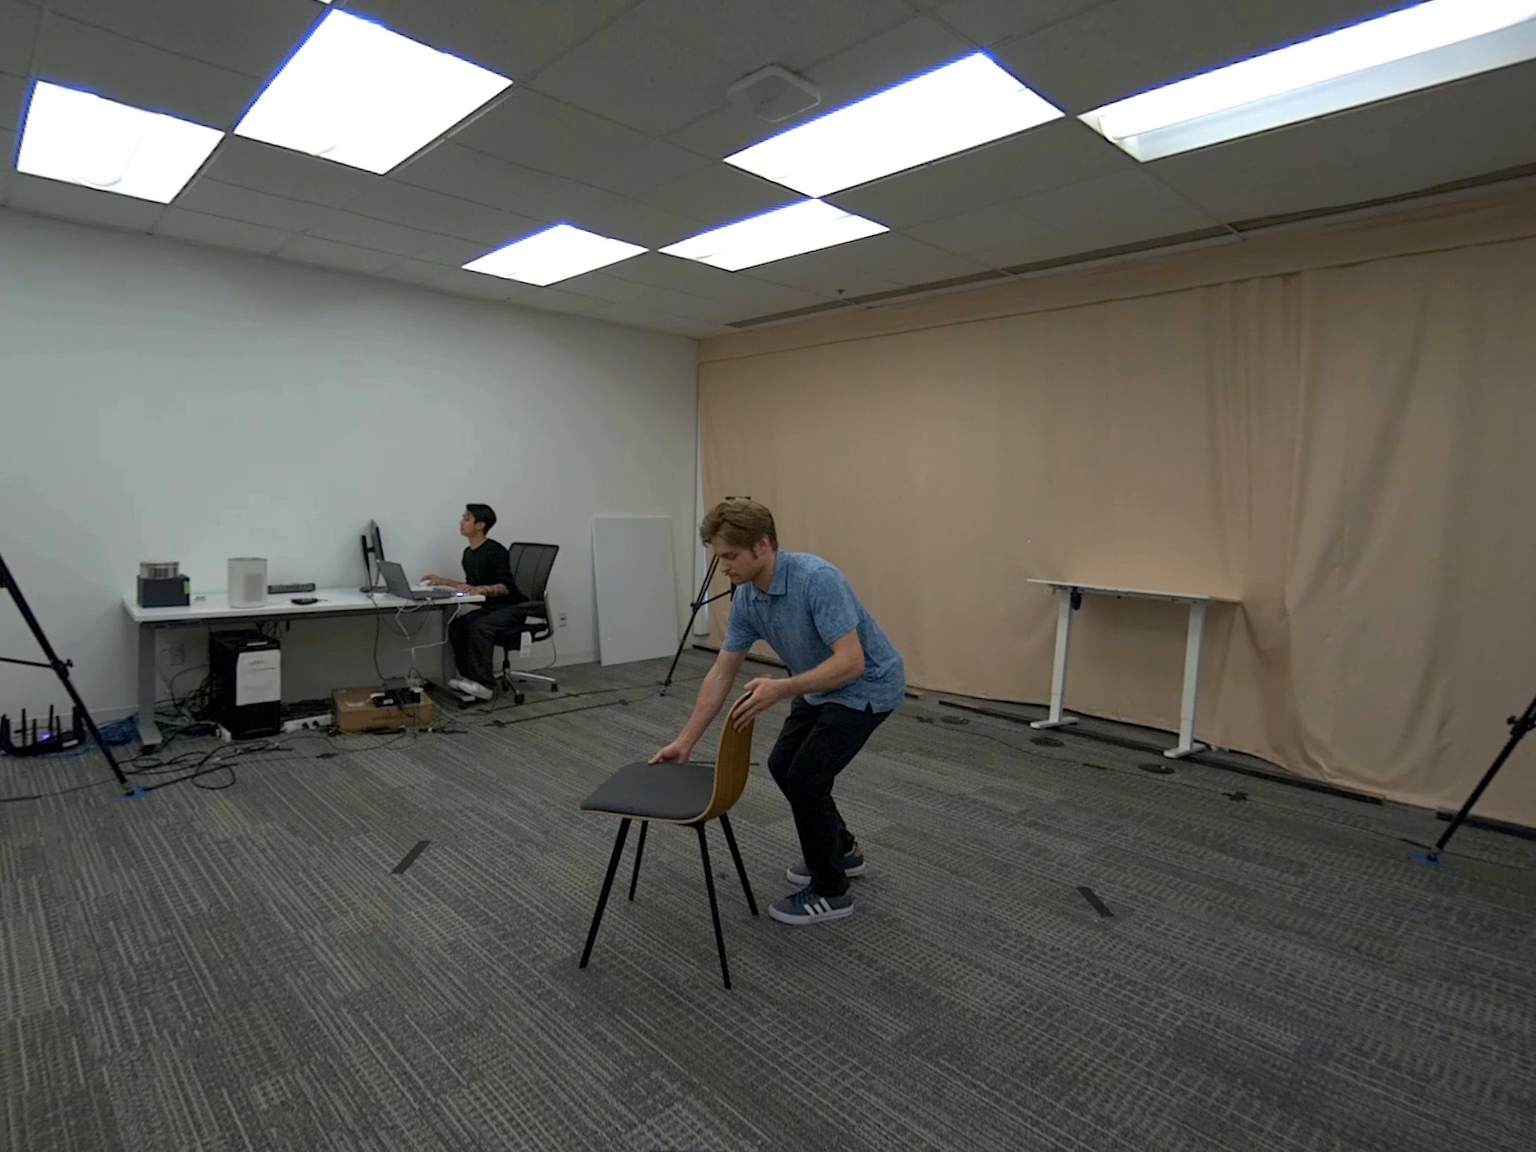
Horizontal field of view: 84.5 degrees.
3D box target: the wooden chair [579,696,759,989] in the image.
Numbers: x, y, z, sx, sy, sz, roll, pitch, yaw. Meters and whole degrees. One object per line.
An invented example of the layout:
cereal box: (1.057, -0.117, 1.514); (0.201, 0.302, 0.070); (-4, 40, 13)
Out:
wooden chair: (-0.299, 0.720, 2.615); (0.528, 0.875, 0.475); (6, 5, 11)
